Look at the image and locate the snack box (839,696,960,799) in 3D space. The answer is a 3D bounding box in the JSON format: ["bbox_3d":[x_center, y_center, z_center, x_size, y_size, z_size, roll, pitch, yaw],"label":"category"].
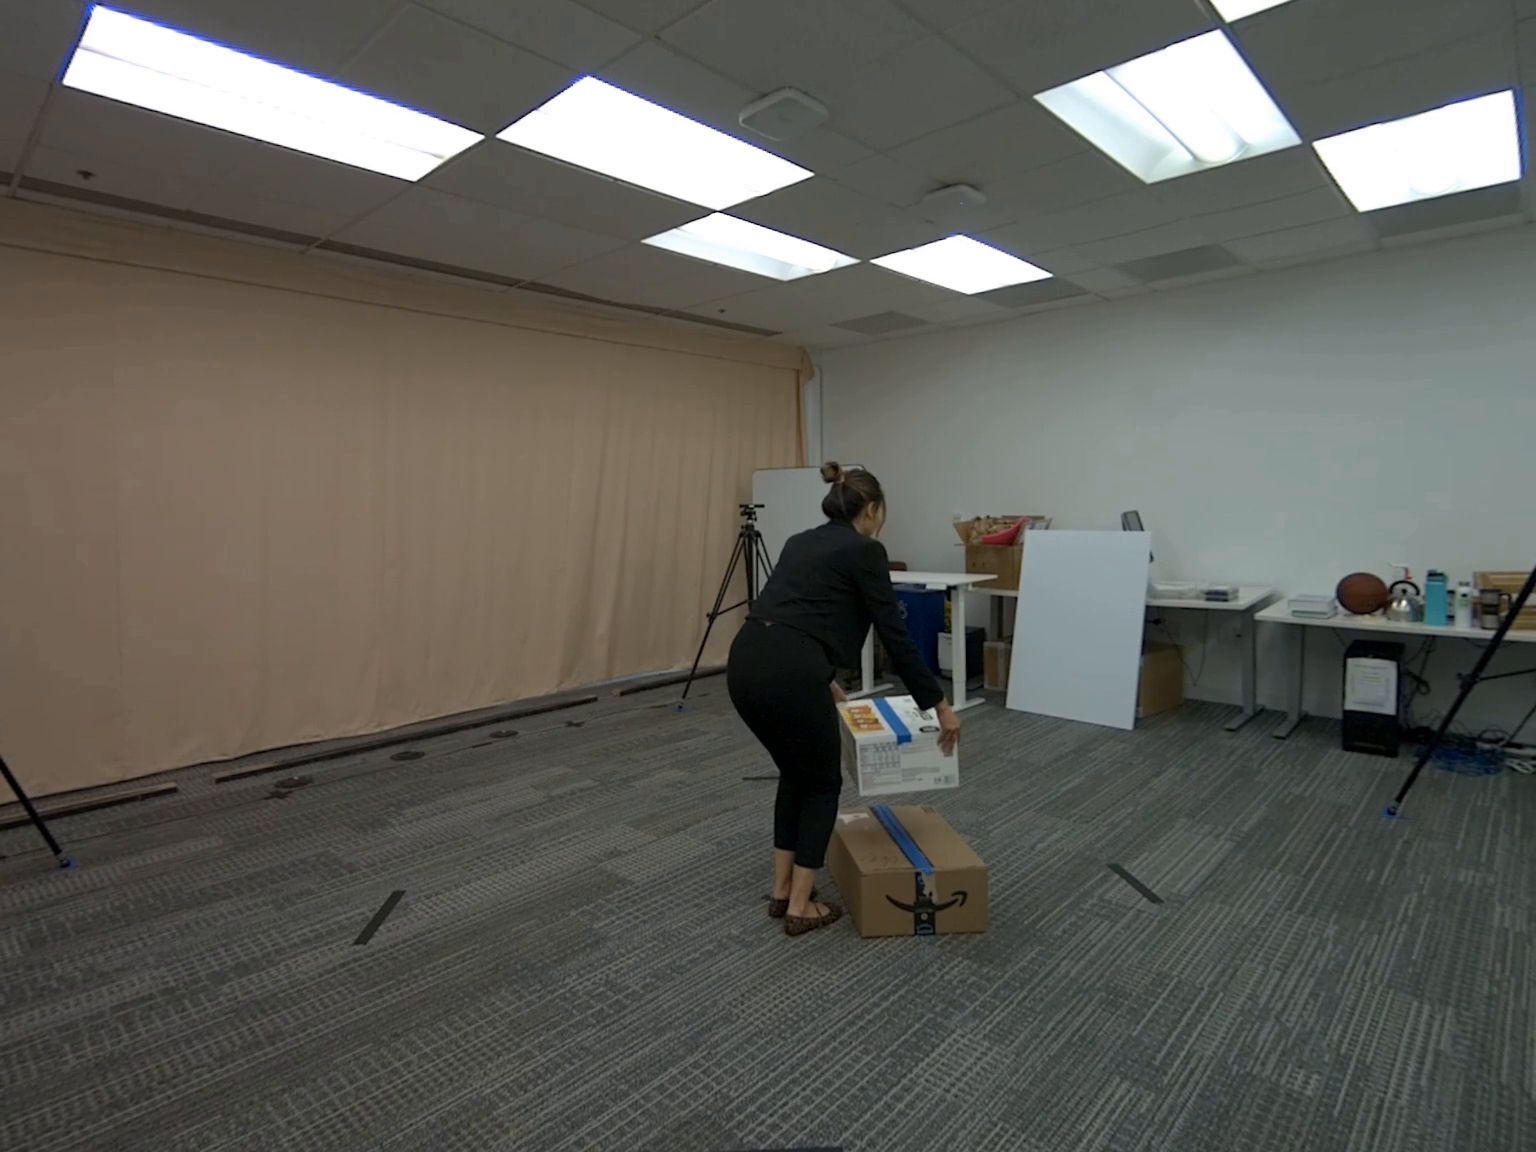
[{"bbox_3d":[0.448,0.593,3.000,0.339,0.204,0.408,-5,9,-3],"label":"snack box"}]
